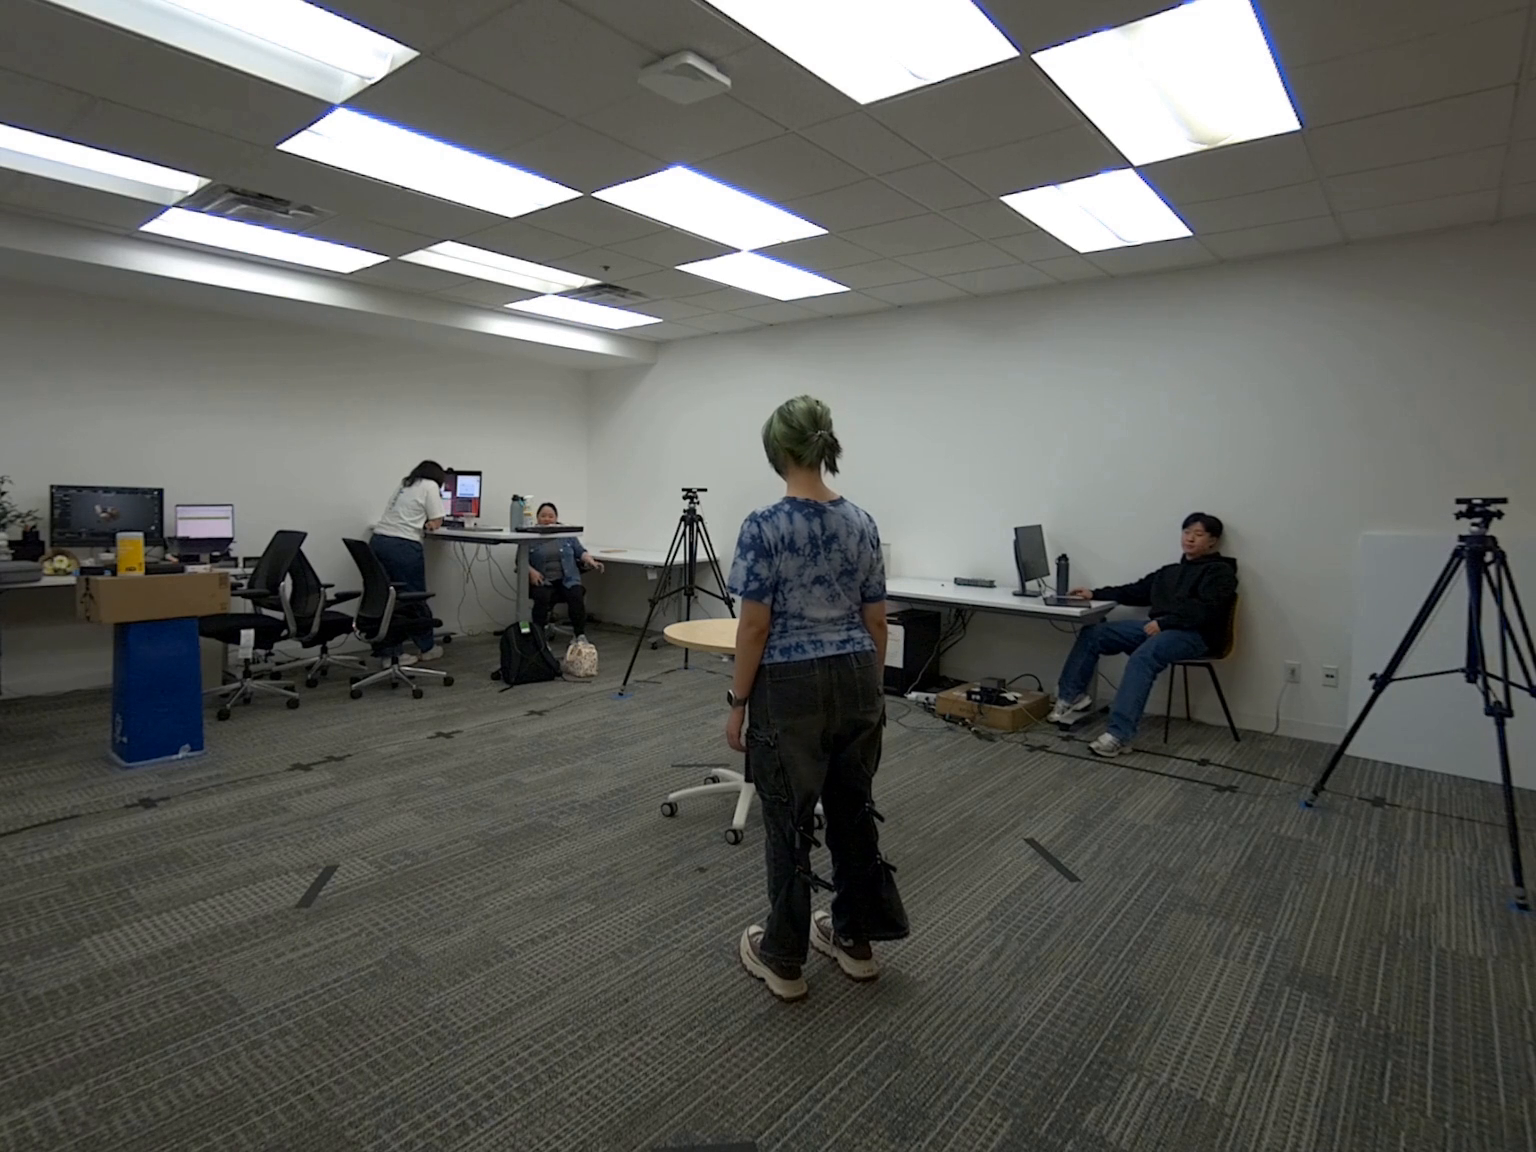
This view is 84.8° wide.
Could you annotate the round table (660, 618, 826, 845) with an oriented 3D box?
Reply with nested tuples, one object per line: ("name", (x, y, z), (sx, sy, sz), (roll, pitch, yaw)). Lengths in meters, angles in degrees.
("round table", (-0.073, 0.627, 3.631), (0.784, 0.784, 0.789), (1, 4, -2))
